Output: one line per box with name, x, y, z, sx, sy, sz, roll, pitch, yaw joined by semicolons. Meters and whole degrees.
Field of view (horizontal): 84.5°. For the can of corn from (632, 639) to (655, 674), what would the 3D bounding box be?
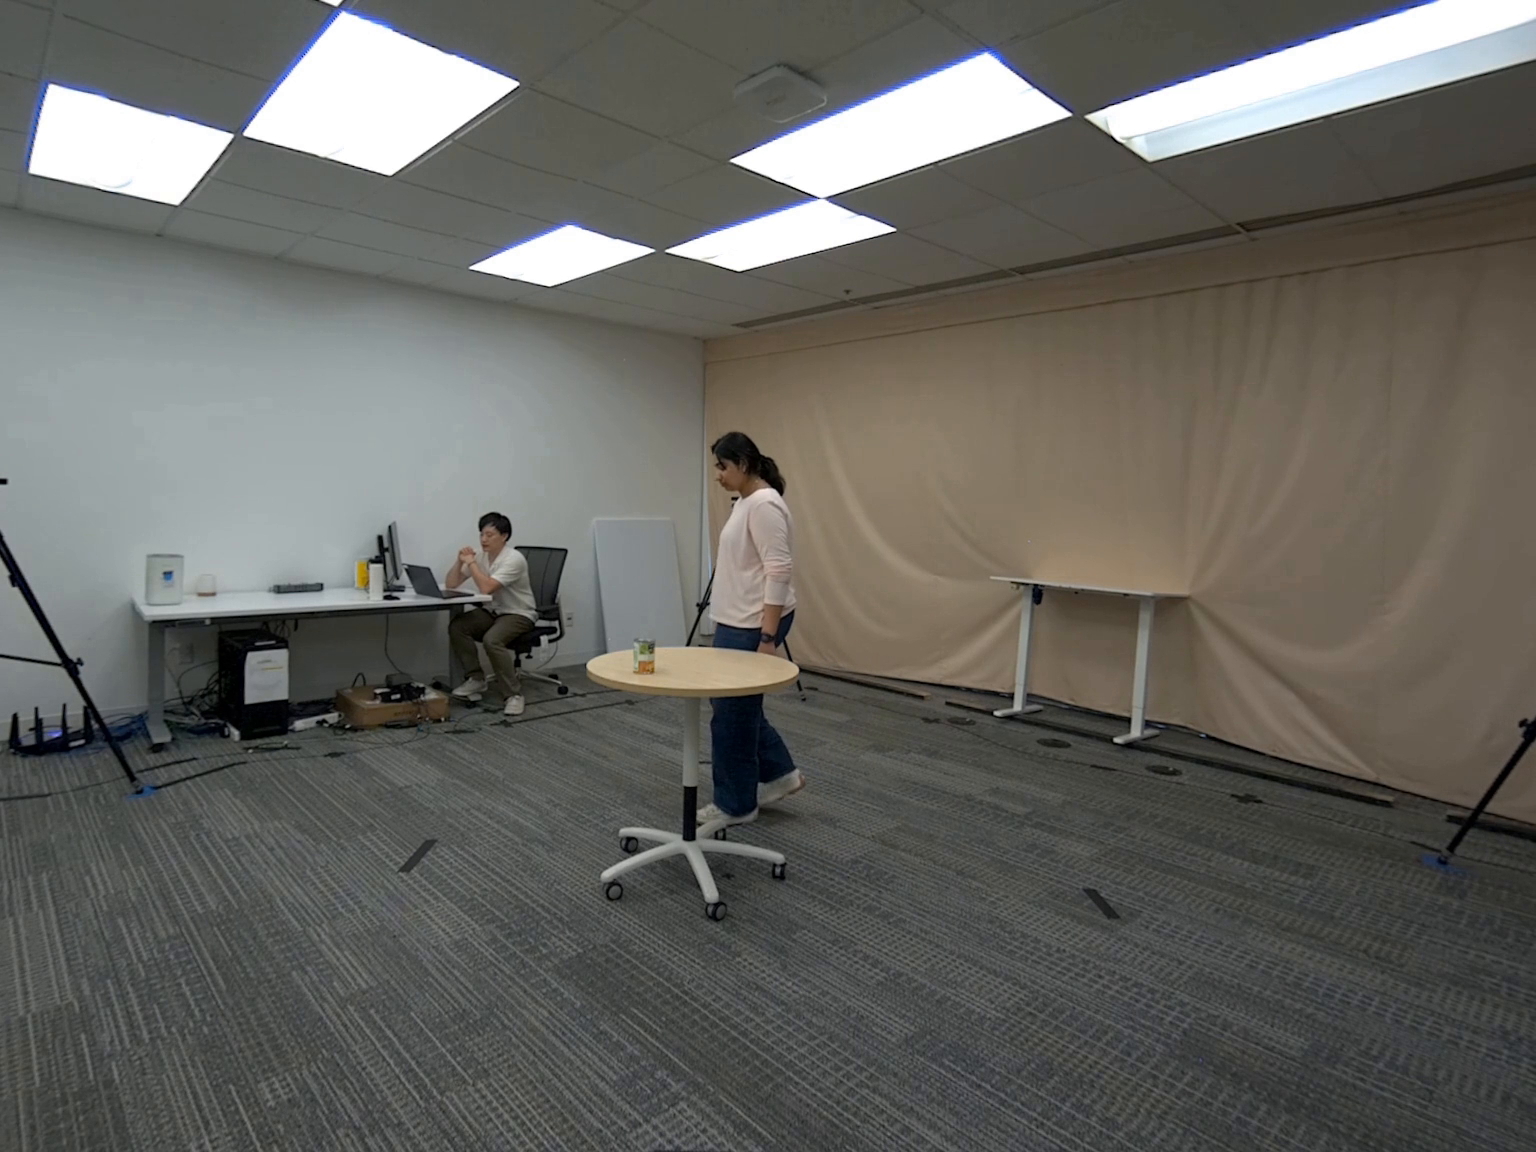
can of corn;-0.437;0.279;2.892;0.074;0.111;0.074;0;2;-1
